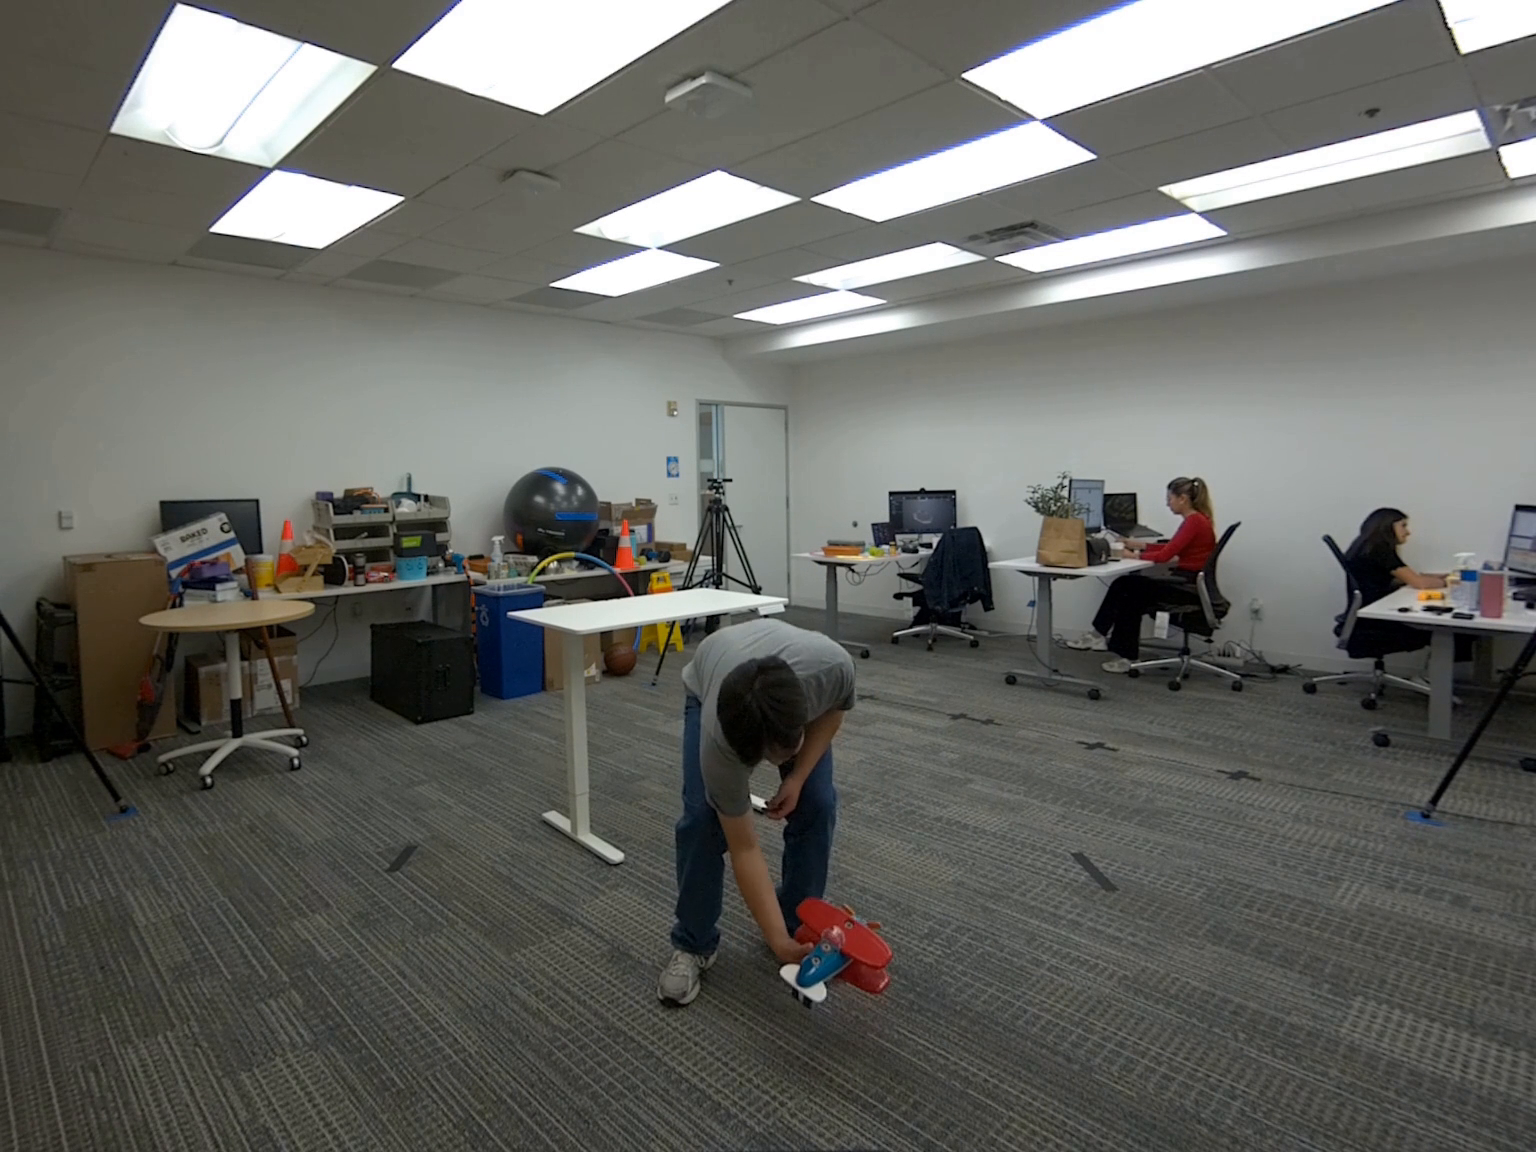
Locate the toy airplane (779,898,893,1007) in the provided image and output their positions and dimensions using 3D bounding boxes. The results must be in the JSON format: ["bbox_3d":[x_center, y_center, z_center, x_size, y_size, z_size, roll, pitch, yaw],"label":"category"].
[{"bbox_3d":[0.163,0.906,2.021,0.254,0.155,0.258,12,11,10],"label":"toy airplane"}]
